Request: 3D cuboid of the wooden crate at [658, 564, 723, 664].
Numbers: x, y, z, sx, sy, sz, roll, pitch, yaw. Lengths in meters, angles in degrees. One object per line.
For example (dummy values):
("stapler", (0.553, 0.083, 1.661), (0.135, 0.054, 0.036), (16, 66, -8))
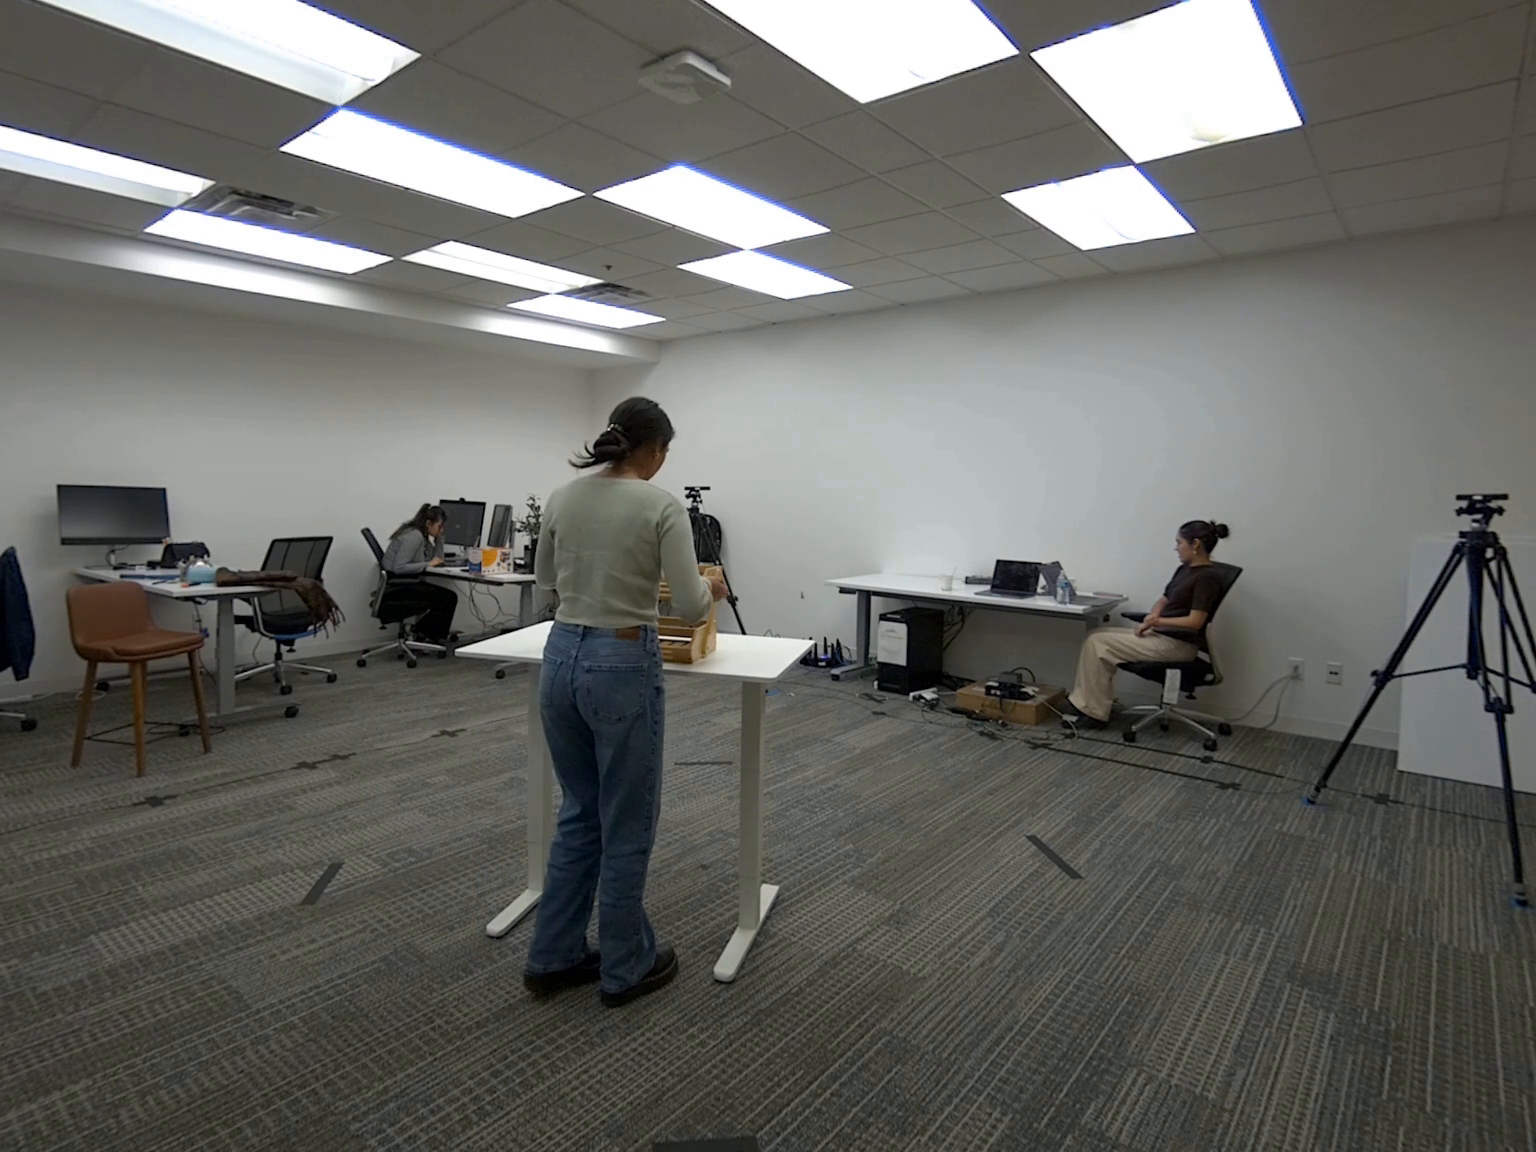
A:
("wooden crate", (-0.336, 0.104, 2.613), (0.330, 0.272, 0.298), (2, 5, 14))
